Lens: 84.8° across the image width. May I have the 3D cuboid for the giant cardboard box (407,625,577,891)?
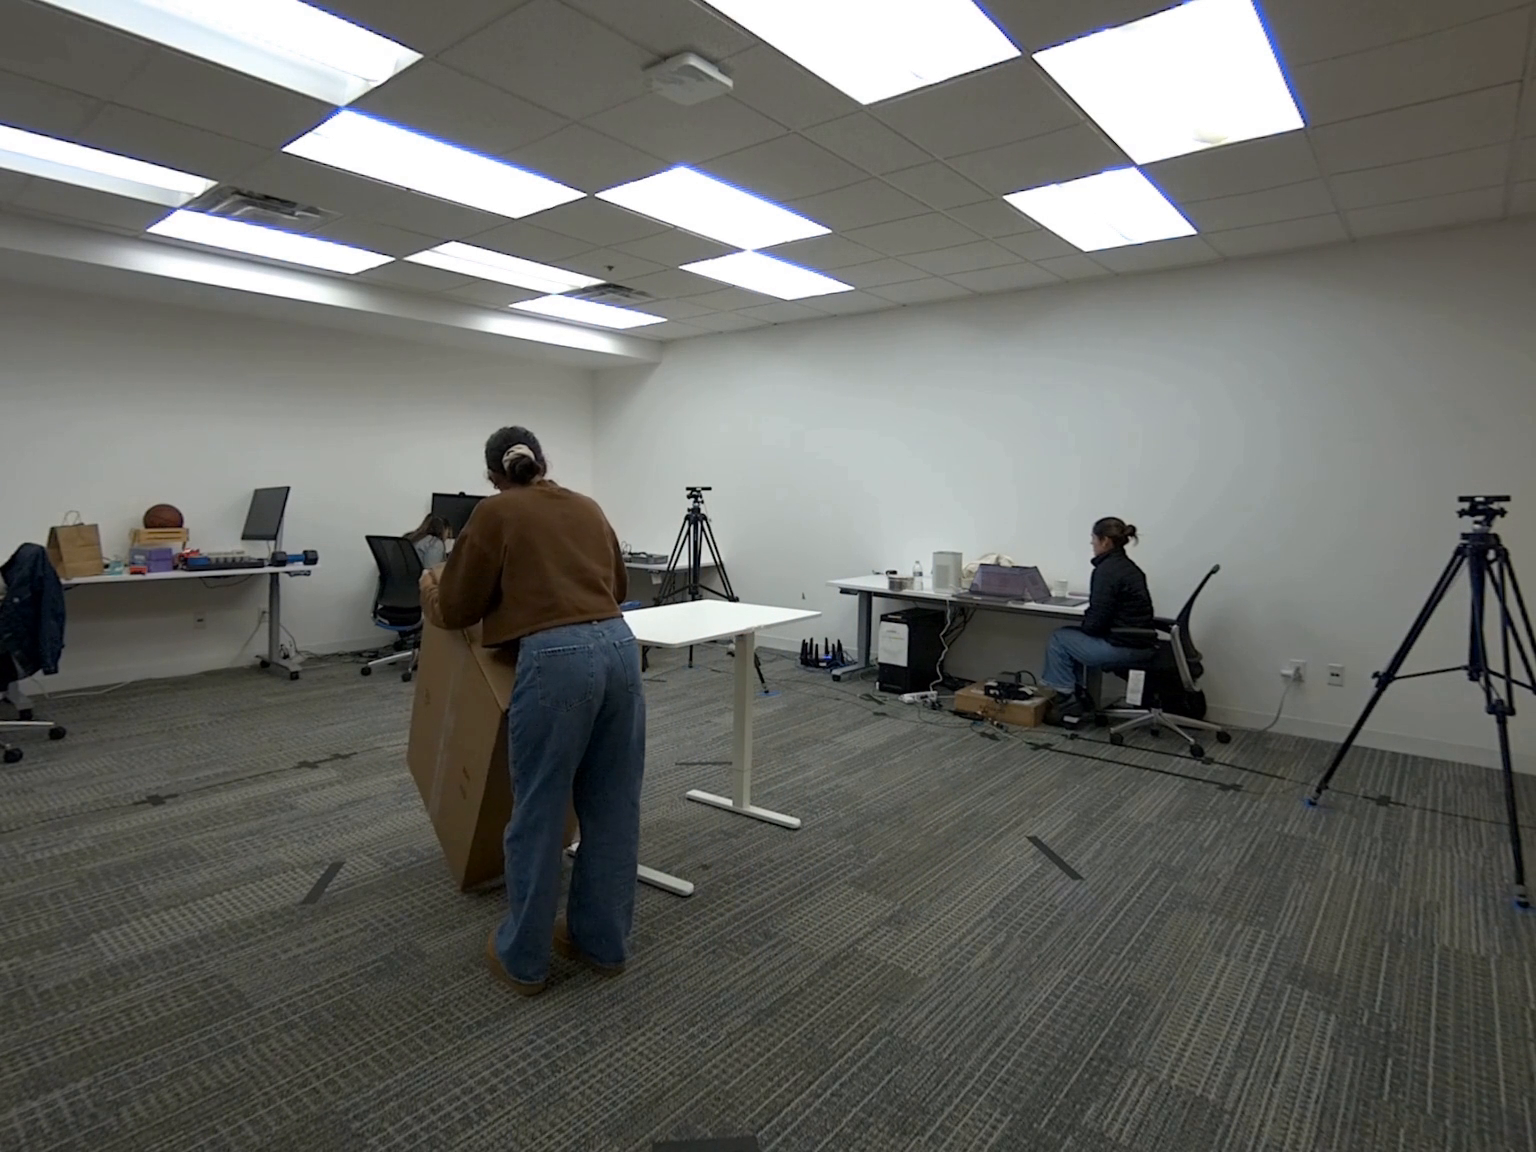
[{"bbox_3d":[-0.895,0.490,2.866,0.416,1.011,0.600,-13,50,-37],"label":"giant cardboard box"}]
